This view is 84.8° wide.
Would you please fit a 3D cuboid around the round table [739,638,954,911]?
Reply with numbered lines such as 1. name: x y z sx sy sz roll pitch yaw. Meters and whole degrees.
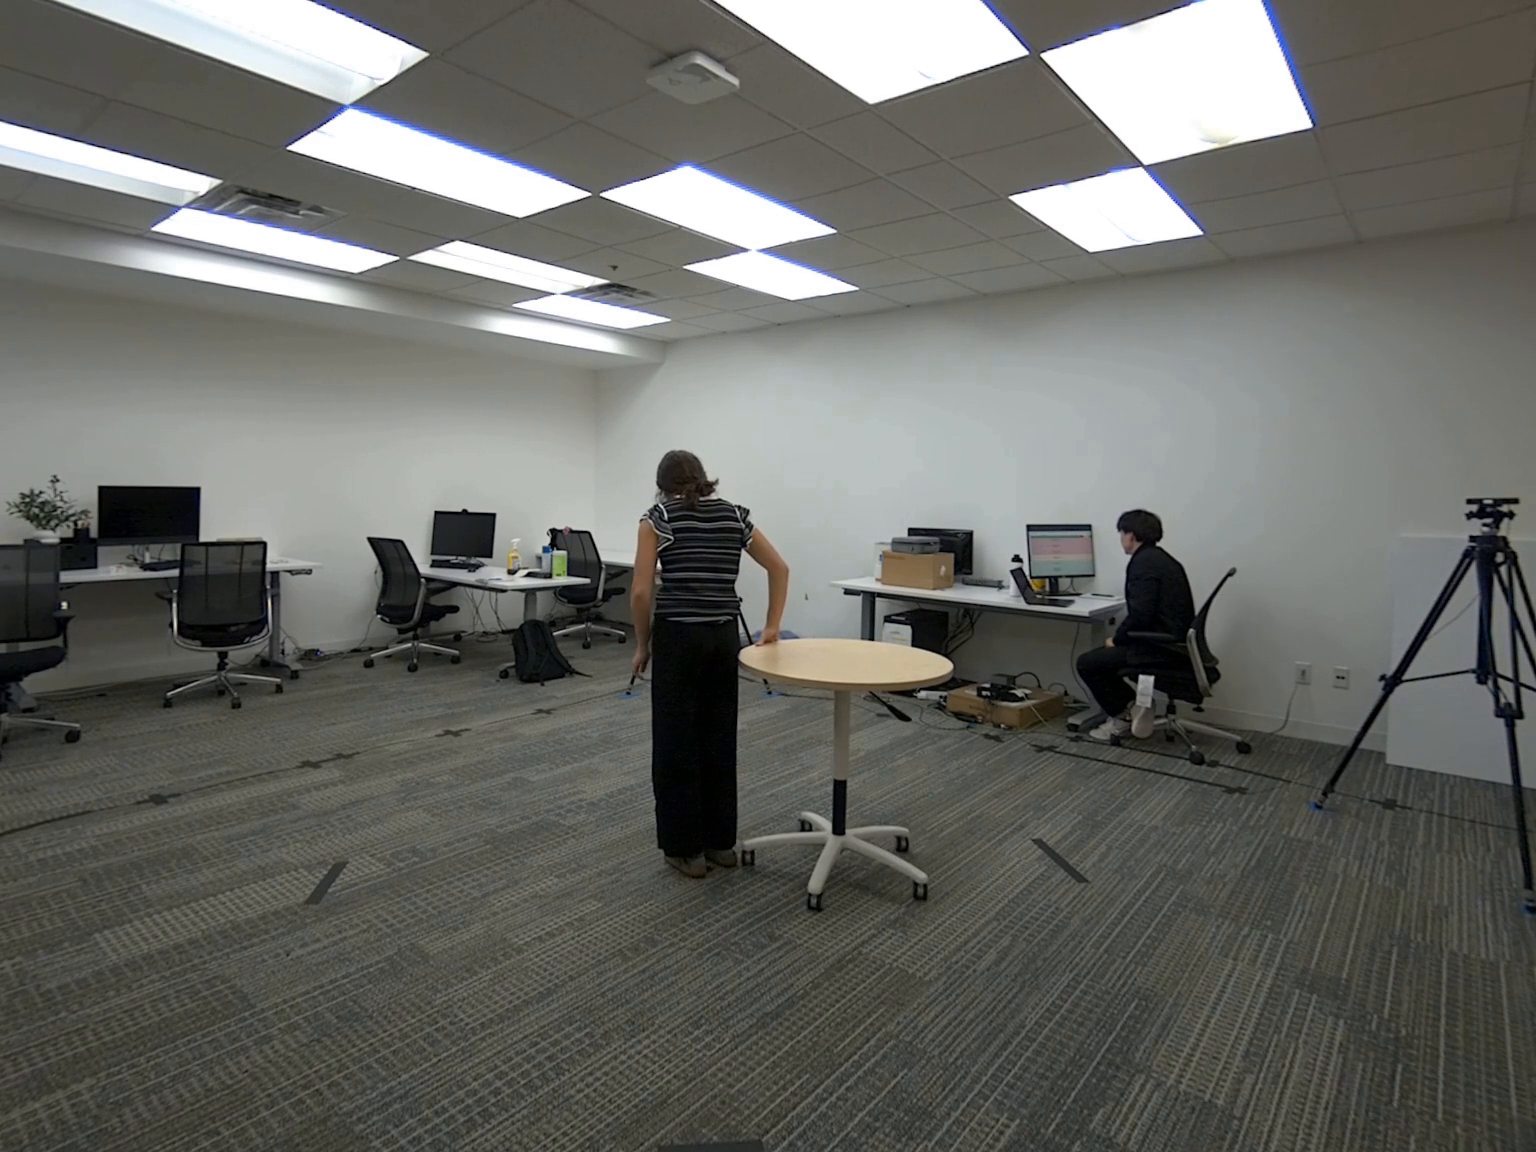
1. round table: 0.245 0.685 3.103 0.784 0.784 0.789 2 4 -2
